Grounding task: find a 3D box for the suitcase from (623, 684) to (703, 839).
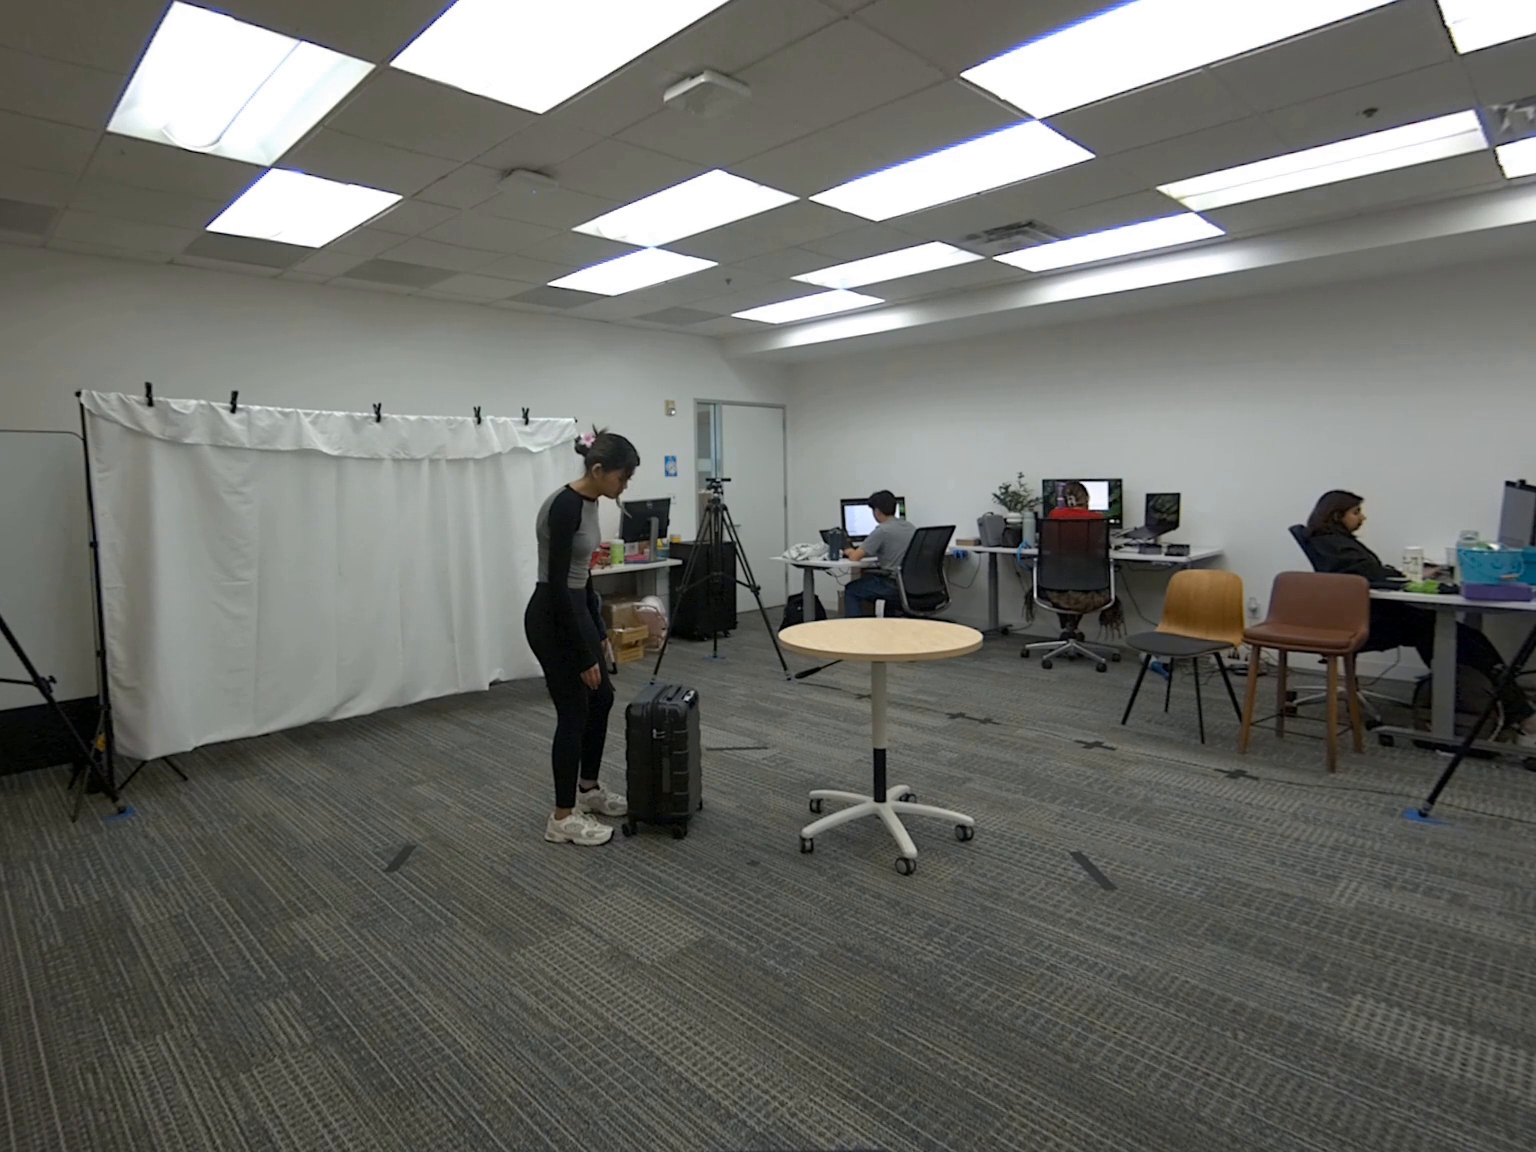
[{"bbox_3d":[-0.428,0.734,3.473,0.250,0.547,0.374,0,5,6],"label":"suitcase"}]
